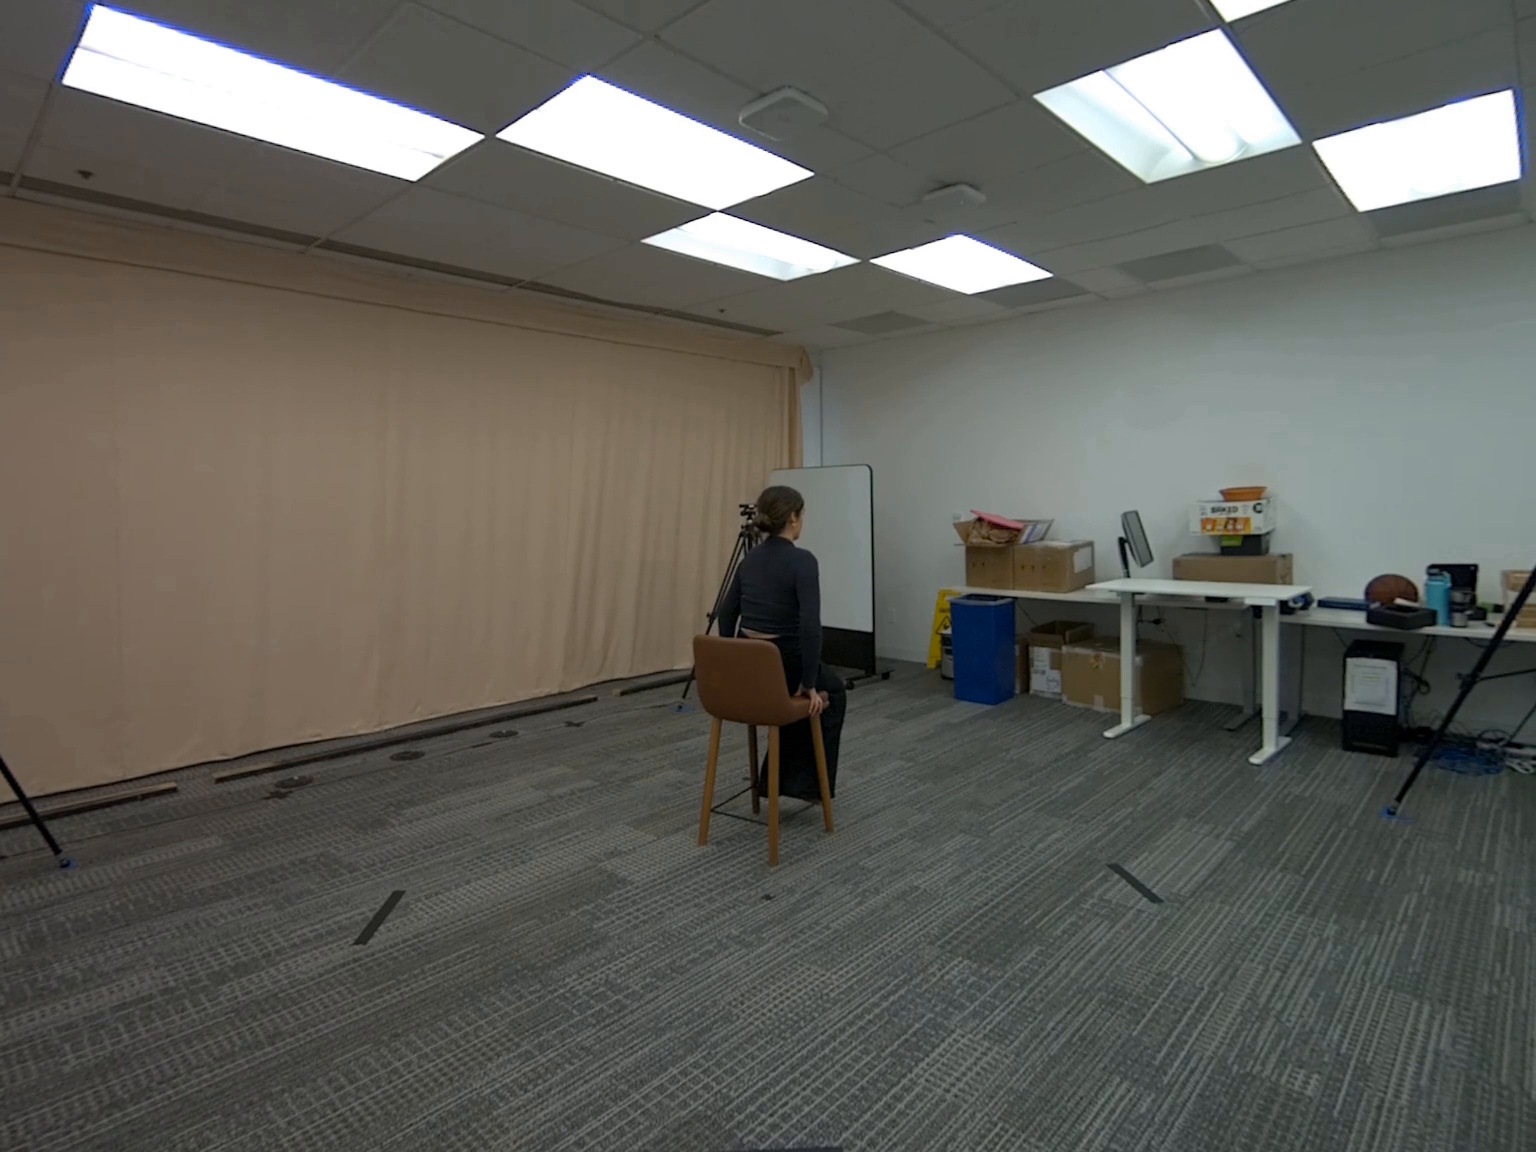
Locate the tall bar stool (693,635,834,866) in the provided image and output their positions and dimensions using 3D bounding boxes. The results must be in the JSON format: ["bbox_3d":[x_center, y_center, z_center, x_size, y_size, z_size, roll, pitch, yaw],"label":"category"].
[{"bbox_3d":[-0.021,0.662,3.498,0.471,0.887,0.454,0,4,36],"label":"tall bar stool"}]
